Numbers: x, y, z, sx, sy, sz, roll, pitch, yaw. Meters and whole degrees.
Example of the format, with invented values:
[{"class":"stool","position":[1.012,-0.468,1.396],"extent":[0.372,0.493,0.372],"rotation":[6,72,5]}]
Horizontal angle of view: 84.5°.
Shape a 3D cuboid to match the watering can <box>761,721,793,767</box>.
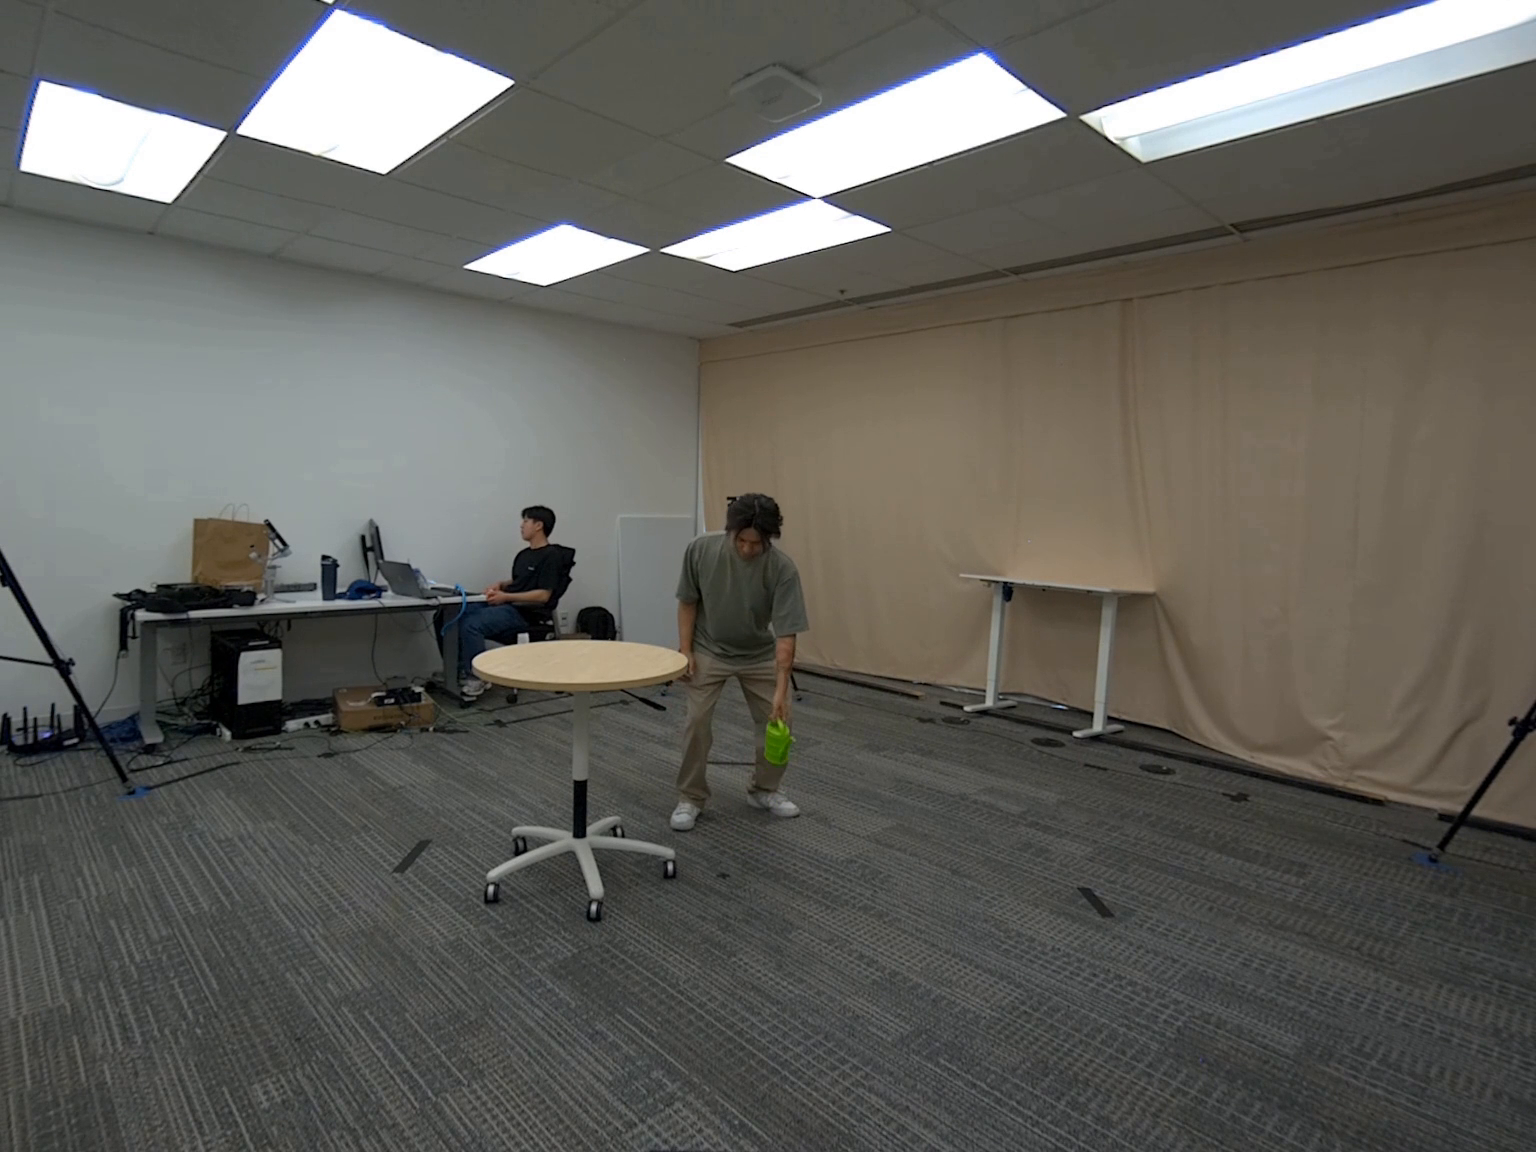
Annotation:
[{"class":"watering can","position":[0.023,0.678,3.411],"extent":[0.098,0.175,0.282],"rotation":[-3,15,-3]}]
